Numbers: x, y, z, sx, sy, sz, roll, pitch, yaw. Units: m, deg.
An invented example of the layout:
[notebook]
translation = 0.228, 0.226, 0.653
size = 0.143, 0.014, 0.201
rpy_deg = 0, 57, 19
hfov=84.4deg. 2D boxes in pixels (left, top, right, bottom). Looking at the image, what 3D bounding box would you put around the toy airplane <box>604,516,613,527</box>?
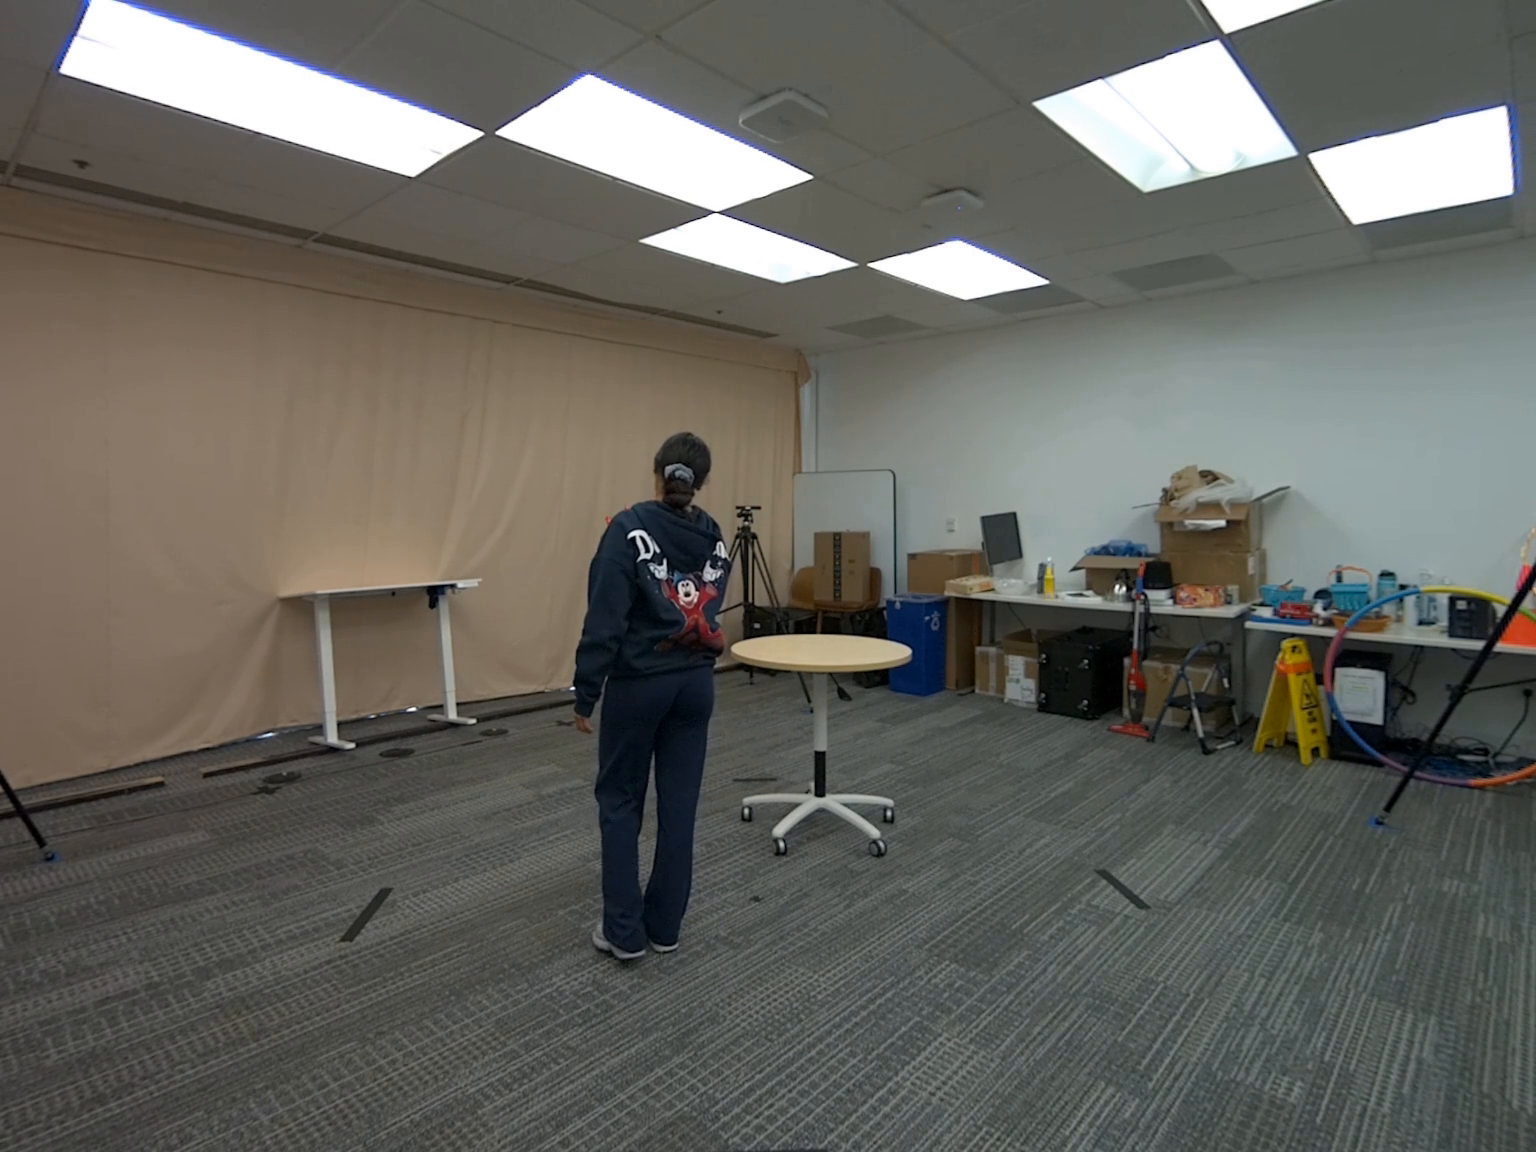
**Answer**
[toy airplane]
translation = -0.476, -0.090, 3.058
size = 0.156, 0.267, 0.245
rpy_deg = -37, -29, -10
